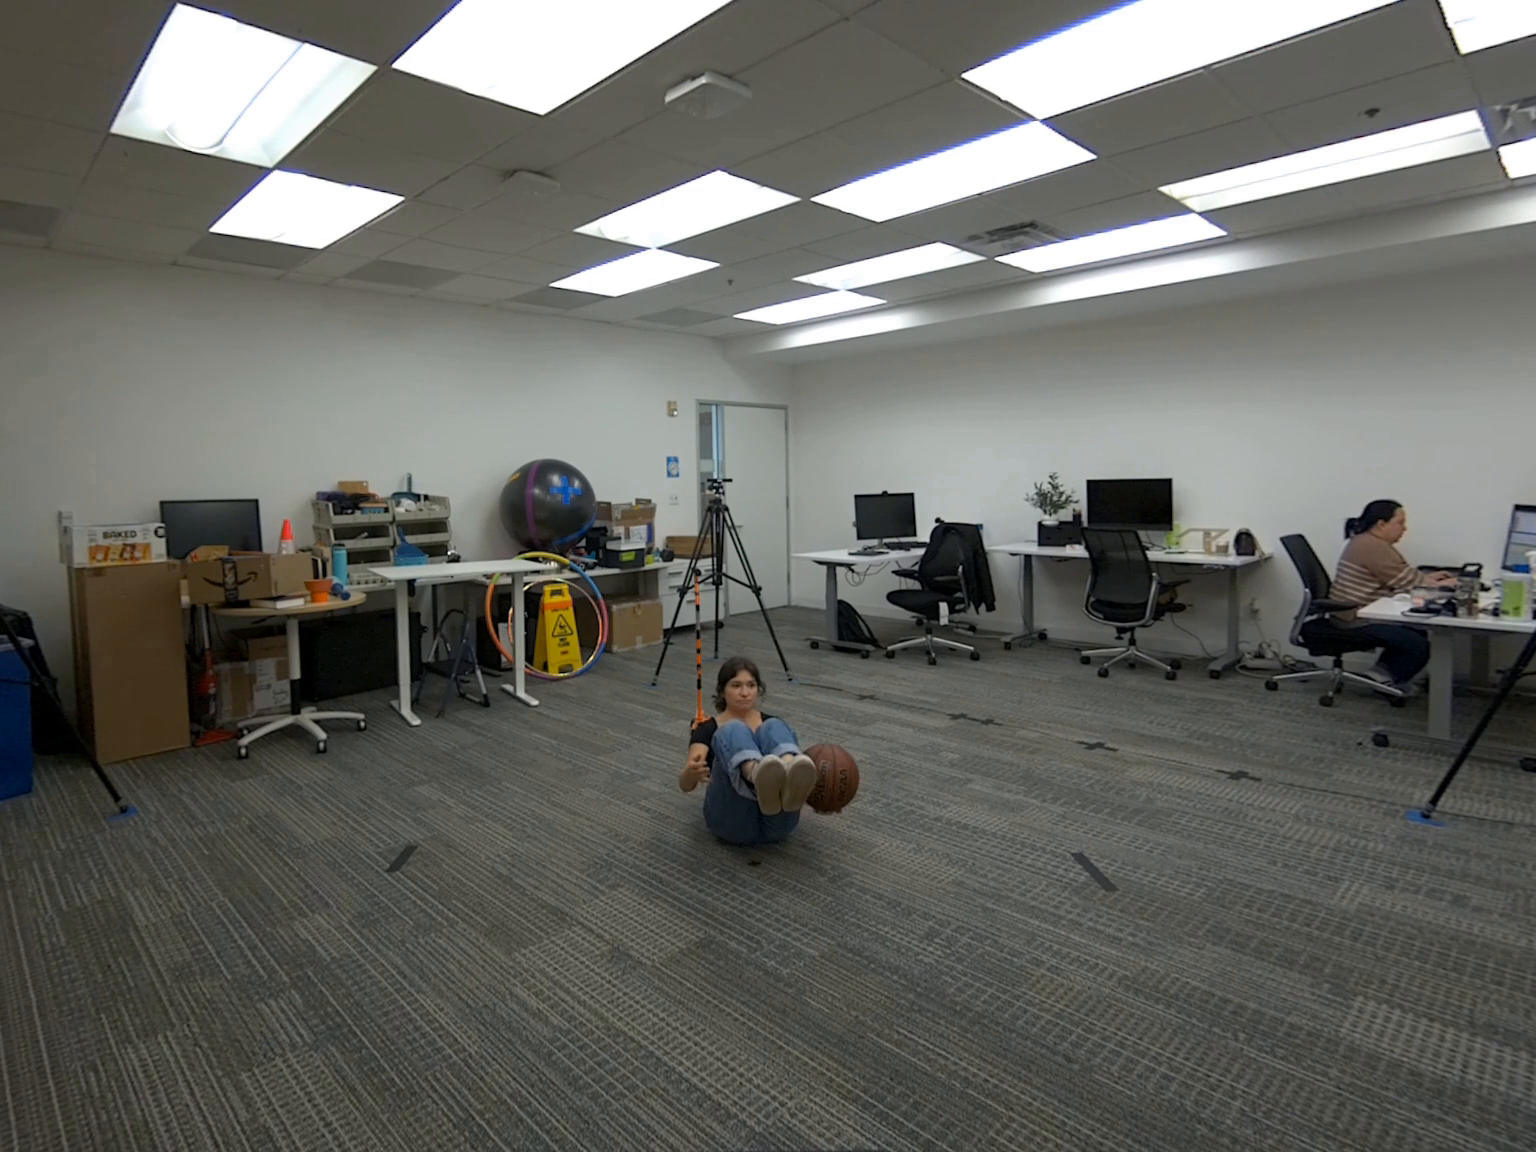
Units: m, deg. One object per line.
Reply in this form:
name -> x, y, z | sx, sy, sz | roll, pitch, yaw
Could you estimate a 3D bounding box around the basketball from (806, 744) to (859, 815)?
basketball -> 0.210, 0.717, 3.124 | 0.236, 0.235, 0.237 | -1, 5, -2
